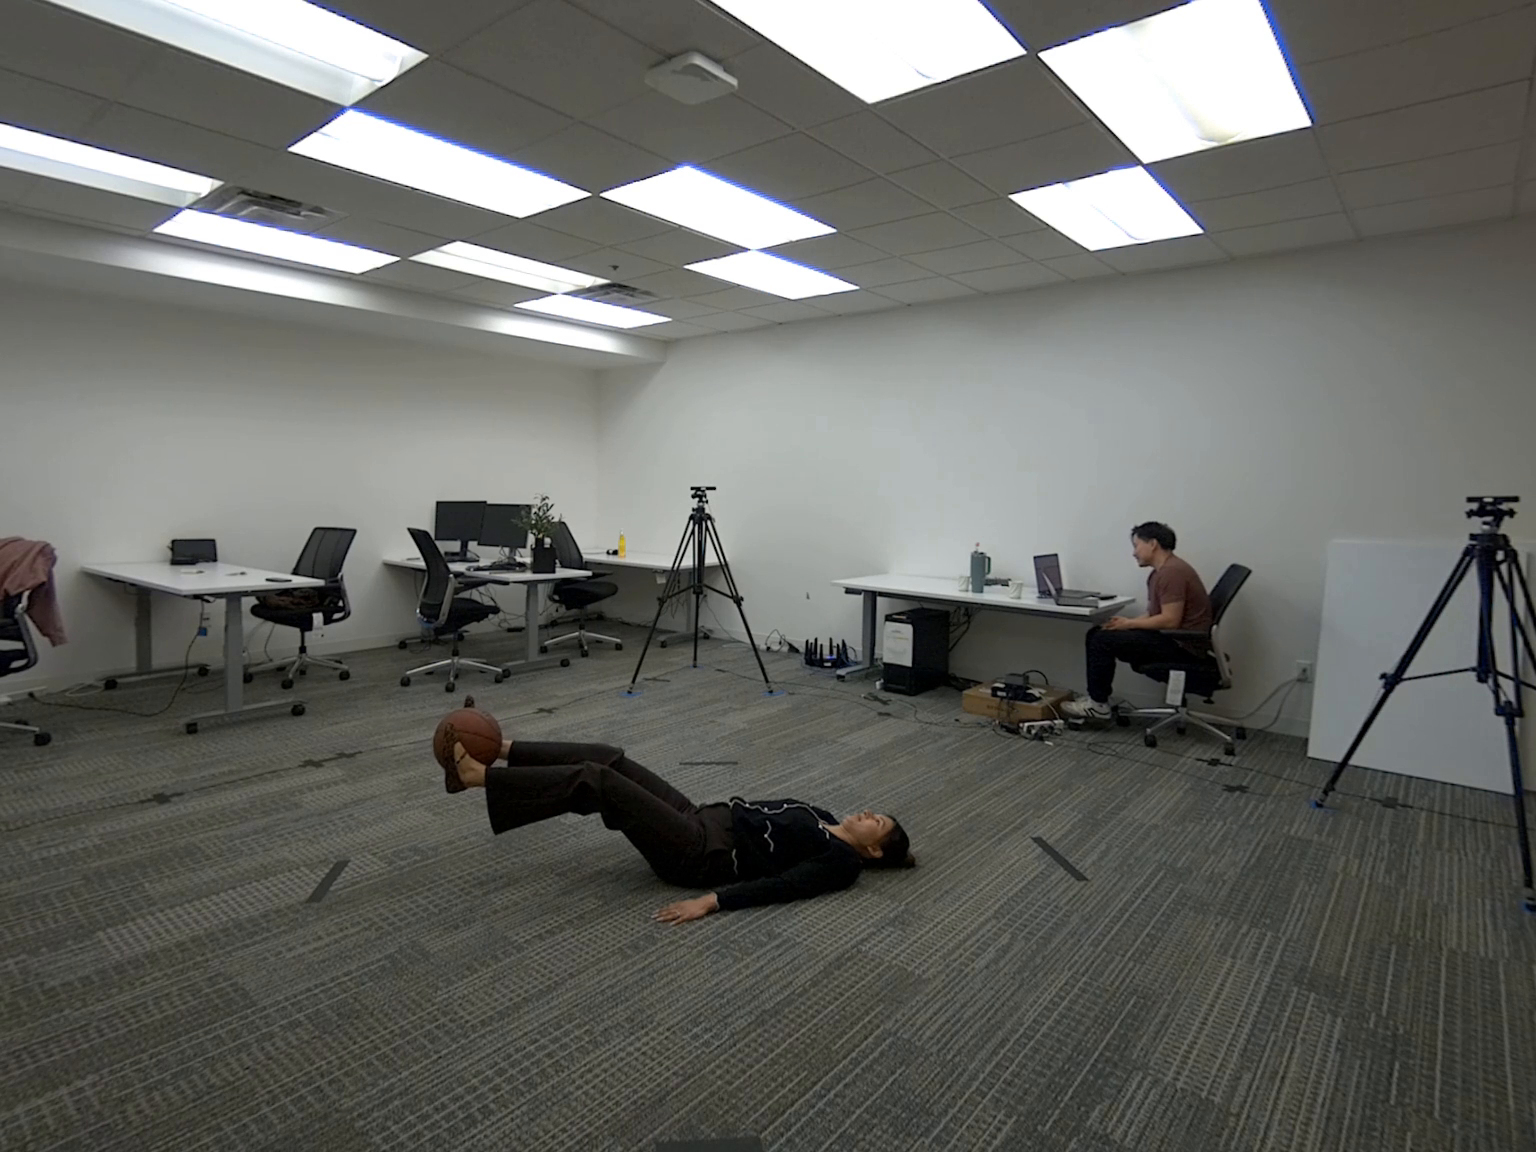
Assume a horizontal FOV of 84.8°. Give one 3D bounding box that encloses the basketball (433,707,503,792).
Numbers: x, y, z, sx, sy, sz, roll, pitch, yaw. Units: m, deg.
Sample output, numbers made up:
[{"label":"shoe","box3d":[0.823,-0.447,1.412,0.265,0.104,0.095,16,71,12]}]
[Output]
[{"label":"basketball","box3d":[-1.068,0.576,2.993,0.236,0.234,0.238,0,7,-2]}]
